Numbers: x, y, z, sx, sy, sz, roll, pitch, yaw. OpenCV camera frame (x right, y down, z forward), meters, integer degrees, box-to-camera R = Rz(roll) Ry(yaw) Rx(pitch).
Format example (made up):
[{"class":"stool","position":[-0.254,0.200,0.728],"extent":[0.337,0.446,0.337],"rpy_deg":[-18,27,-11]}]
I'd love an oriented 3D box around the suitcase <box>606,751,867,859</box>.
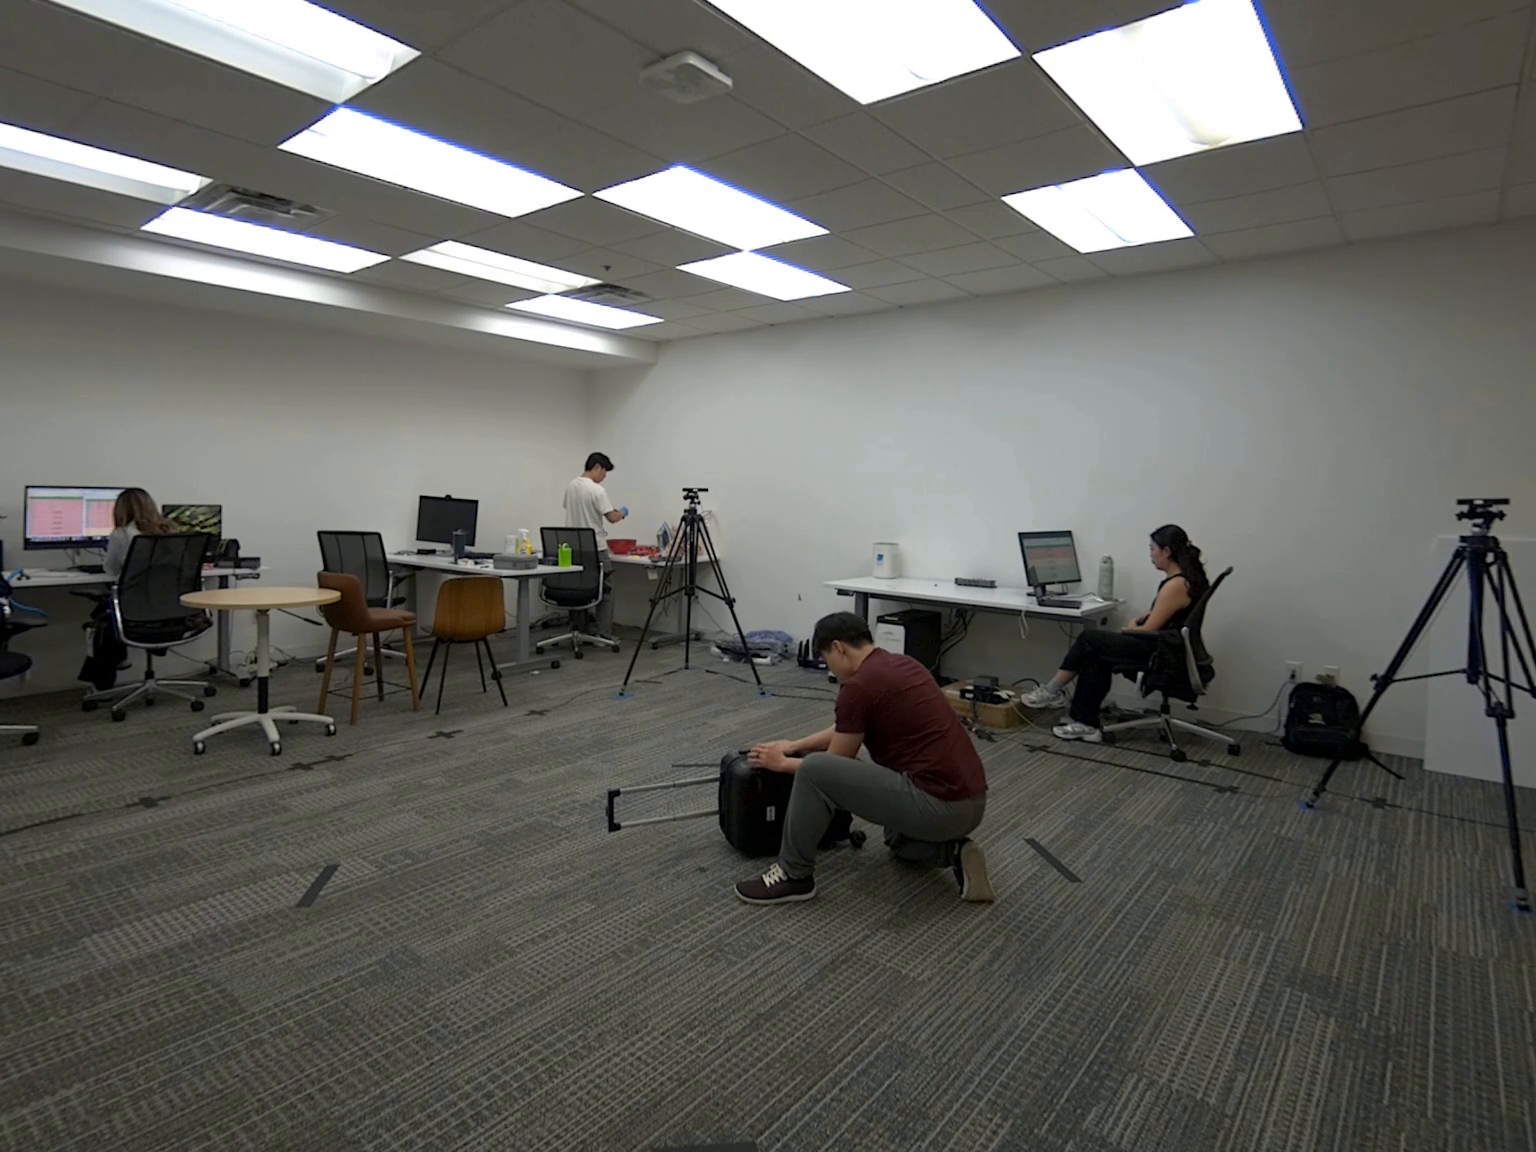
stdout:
[{"class":"suitcase","position":[-0.124,0.865,3.273],"extent":[0.957,0.383,0.264],"rpy_deg":[-1,4,-23]}]
